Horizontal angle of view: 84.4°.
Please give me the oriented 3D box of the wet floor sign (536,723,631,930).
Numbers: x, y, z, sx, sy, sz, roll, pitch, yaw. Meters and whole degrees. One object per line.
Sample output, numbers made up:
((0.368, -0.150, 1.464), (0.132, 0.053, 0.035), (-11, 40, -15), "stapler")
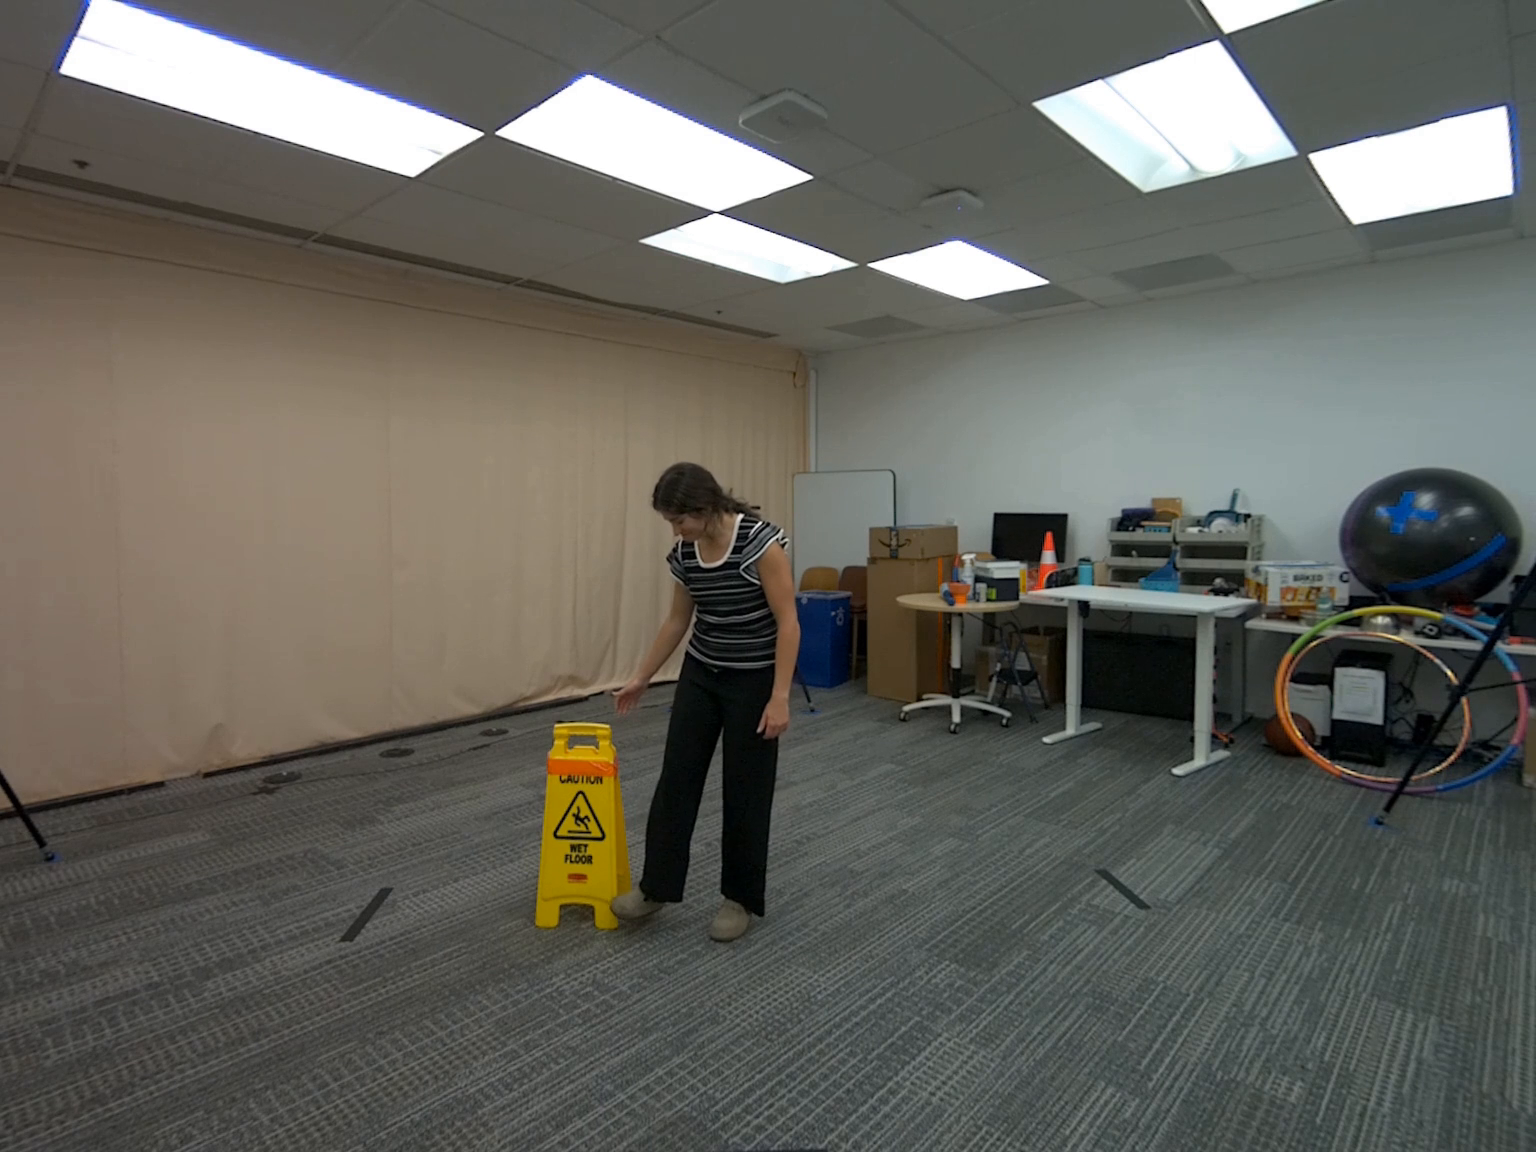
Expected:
((-0.634, 0.835, 2.893), (0.283, 0.645, 0.289), (1, 2, 3), "wet floor sign")
